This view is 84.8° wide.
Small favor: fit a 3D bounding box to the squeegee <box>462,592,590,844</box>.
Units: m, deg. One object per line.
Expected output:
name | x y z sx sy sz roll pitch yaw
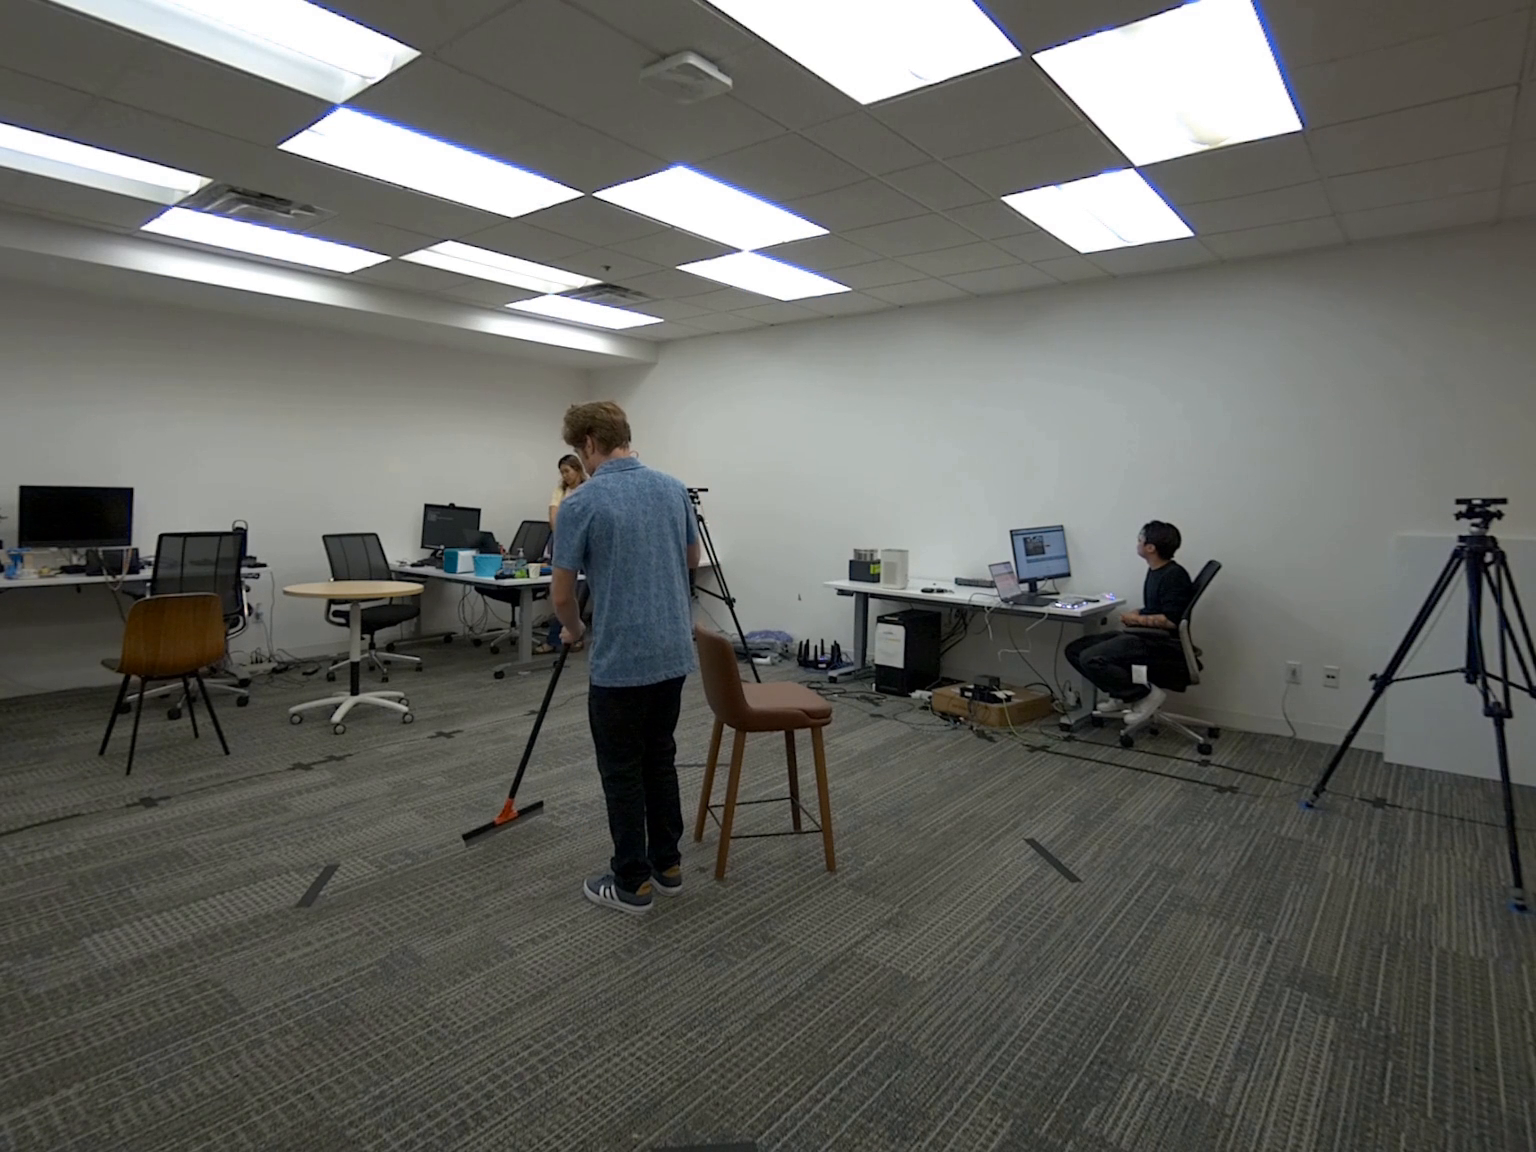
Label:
squeegee | -0.799 0.261 3.119 0.054 1.528 0.428 23 11 20
